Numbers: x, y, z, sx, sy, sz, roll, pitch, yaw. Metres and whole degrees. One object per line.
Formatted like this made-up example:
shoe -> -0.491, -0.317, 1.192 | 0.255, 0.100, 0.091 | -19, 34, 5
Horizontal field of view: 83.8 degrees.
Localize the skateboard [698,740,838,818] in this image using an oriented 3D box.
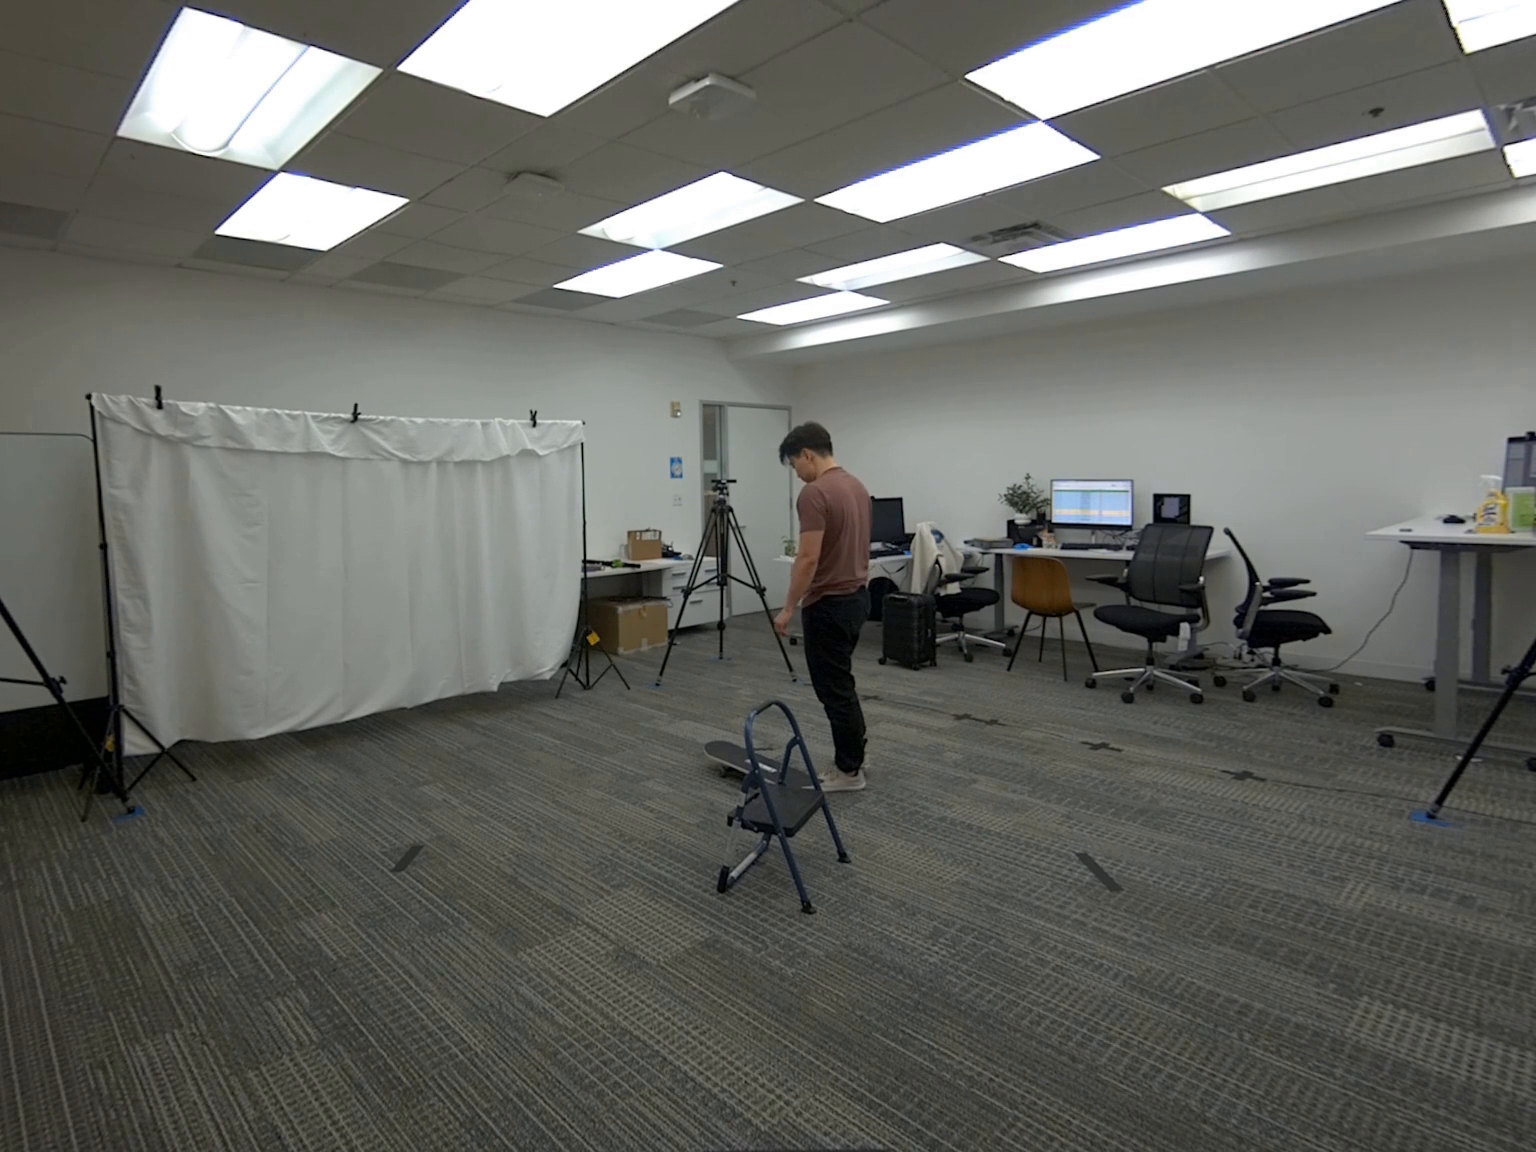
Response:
skateboard -> -0.025, 0.907, 3.917 | 0.188, 0.110, 0.809 | -5, 6, -36
